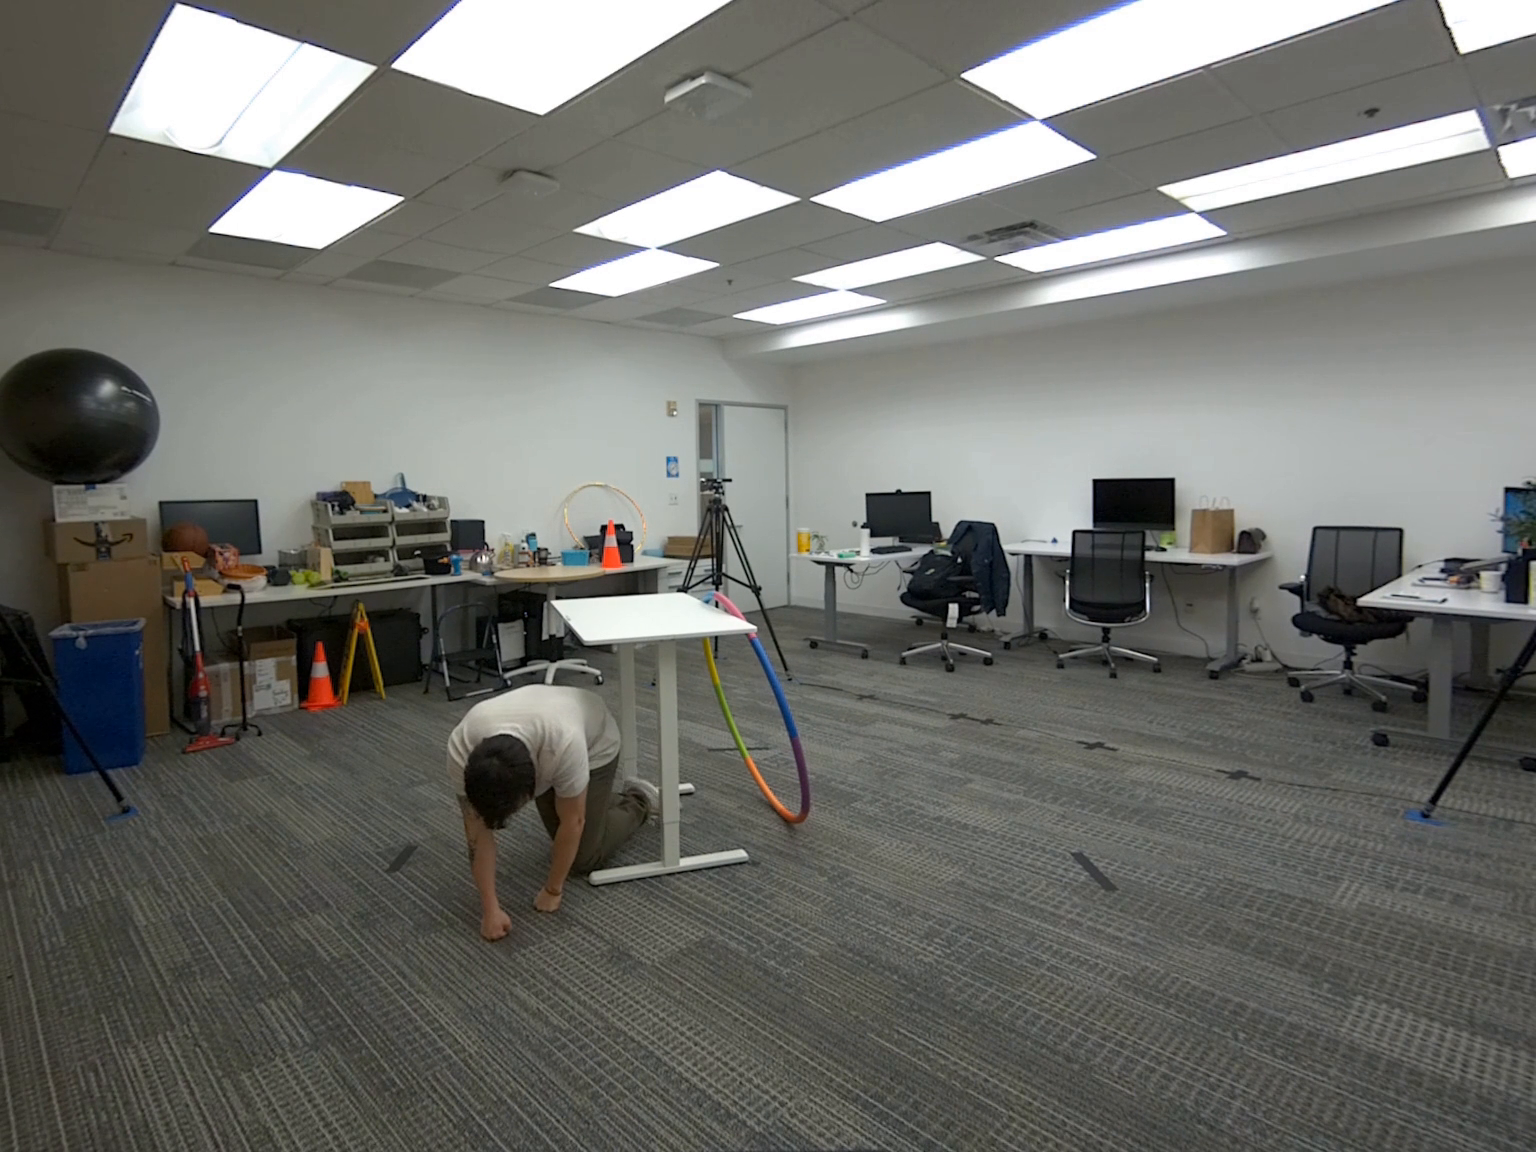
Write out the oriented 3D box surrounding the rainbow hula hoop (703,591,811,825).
[{"bbox_3d":[-0.067,0.533,3.498,0.035,0.969,0.999,-19,10,-18],"label":"rainbow hula hoop"}]
